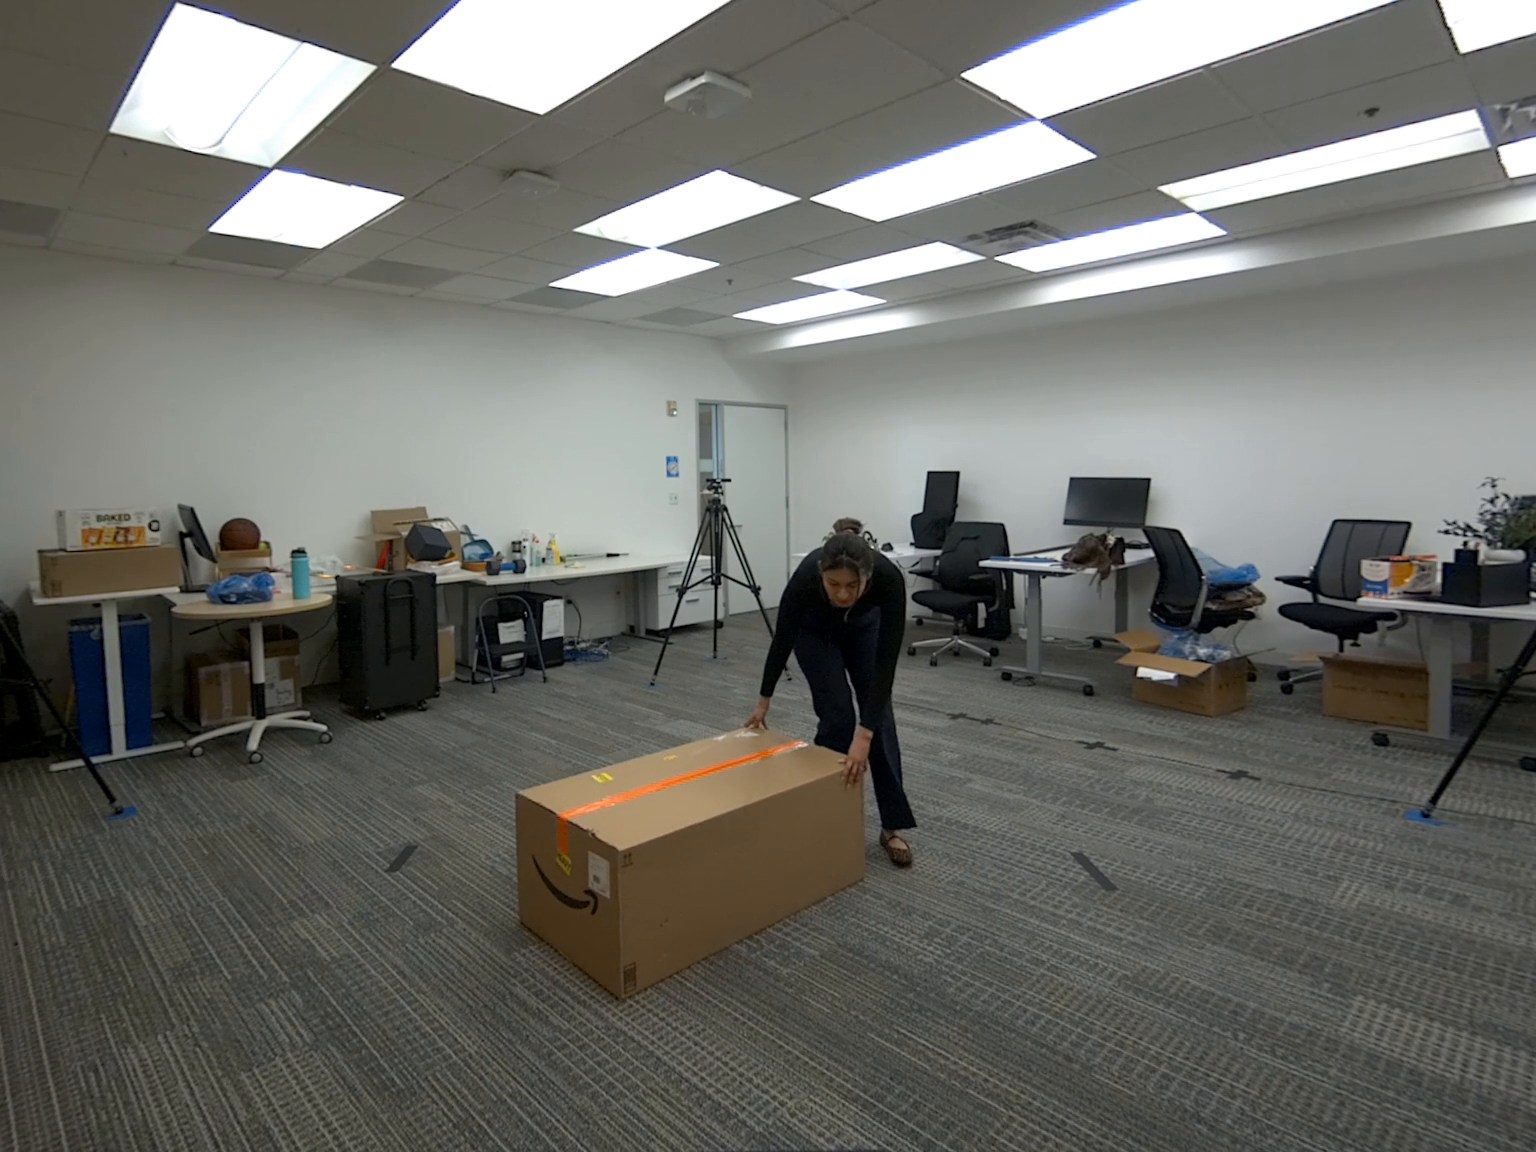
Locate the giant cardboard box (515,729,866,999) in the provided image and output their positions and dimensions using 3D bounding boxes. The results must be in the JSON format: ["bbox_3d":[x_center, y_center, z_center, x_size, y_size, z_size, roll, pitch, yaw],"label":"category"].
[{"bbox_3d":[-0.228,0.864,2.830,0.999,0.424,0.595,-7,8,-42],"label":"giant cardboard box"}]
